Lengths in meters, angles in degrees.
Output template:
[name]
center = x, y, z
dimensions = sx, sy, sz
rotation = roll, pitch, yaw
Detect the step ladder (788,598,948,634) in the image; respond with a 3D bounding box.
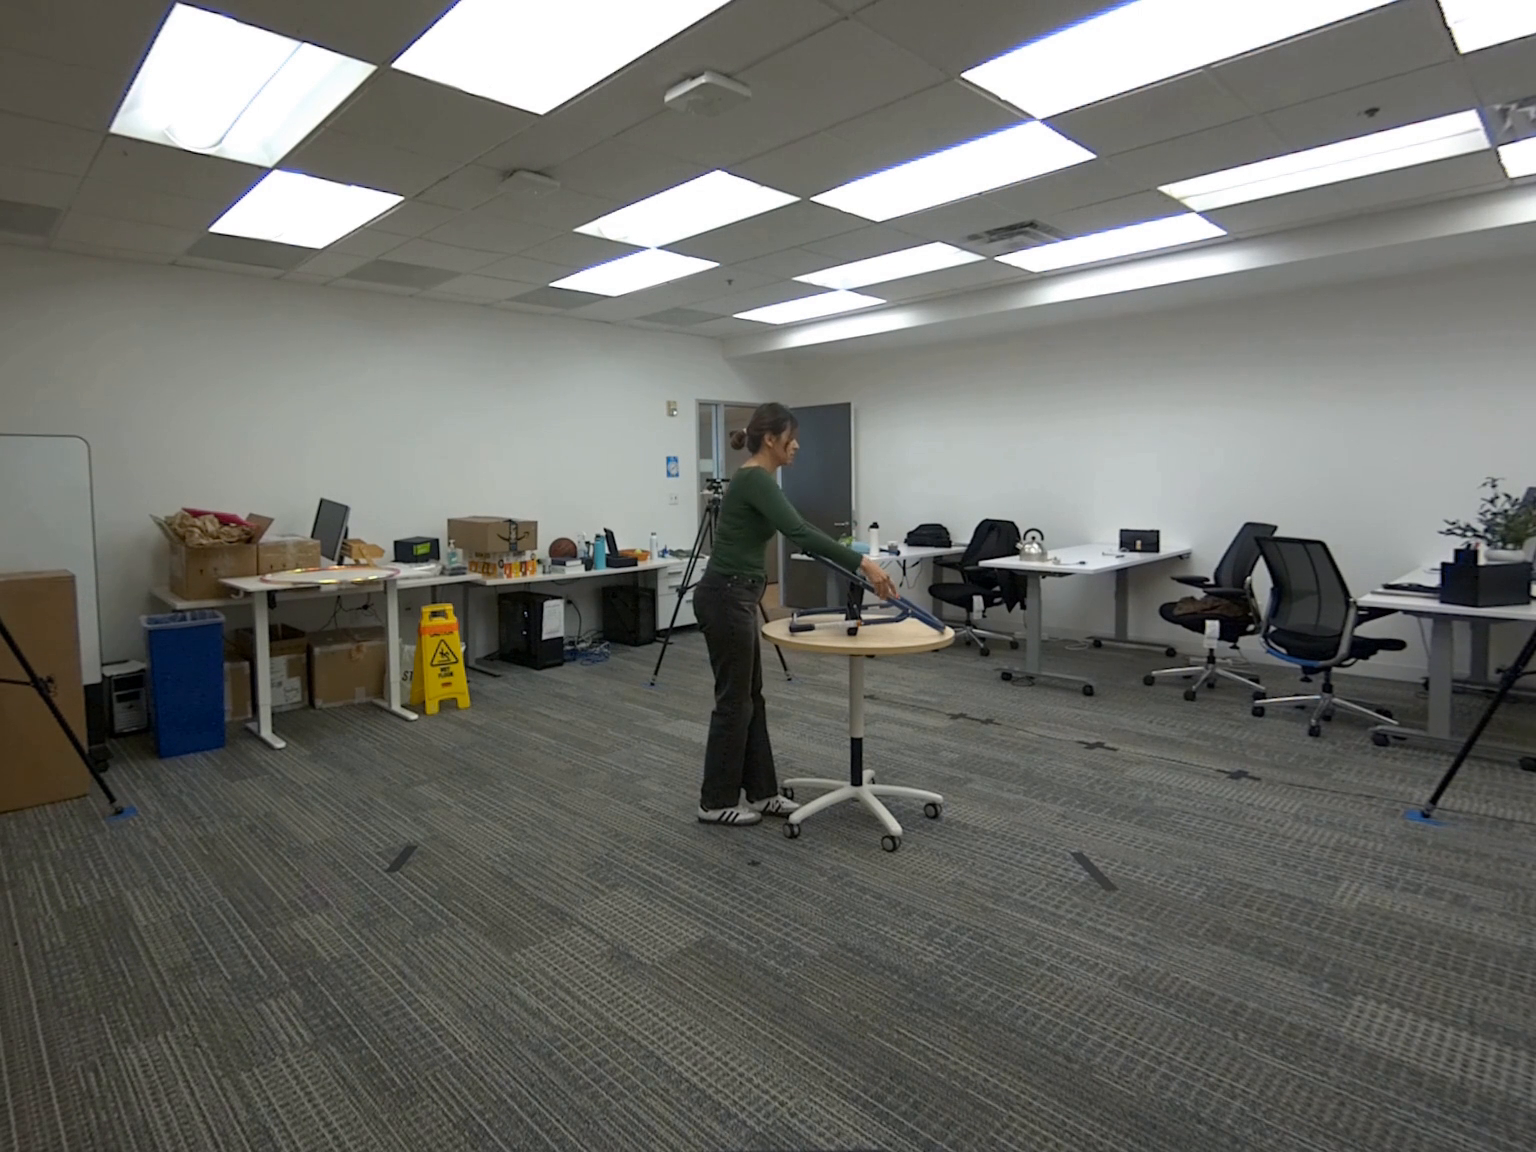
[step ladder]
center = 0.417, 0.083, 3.438
dimensions = 0.610, 0.348, 0.430
rotation = 11, 7, 5
